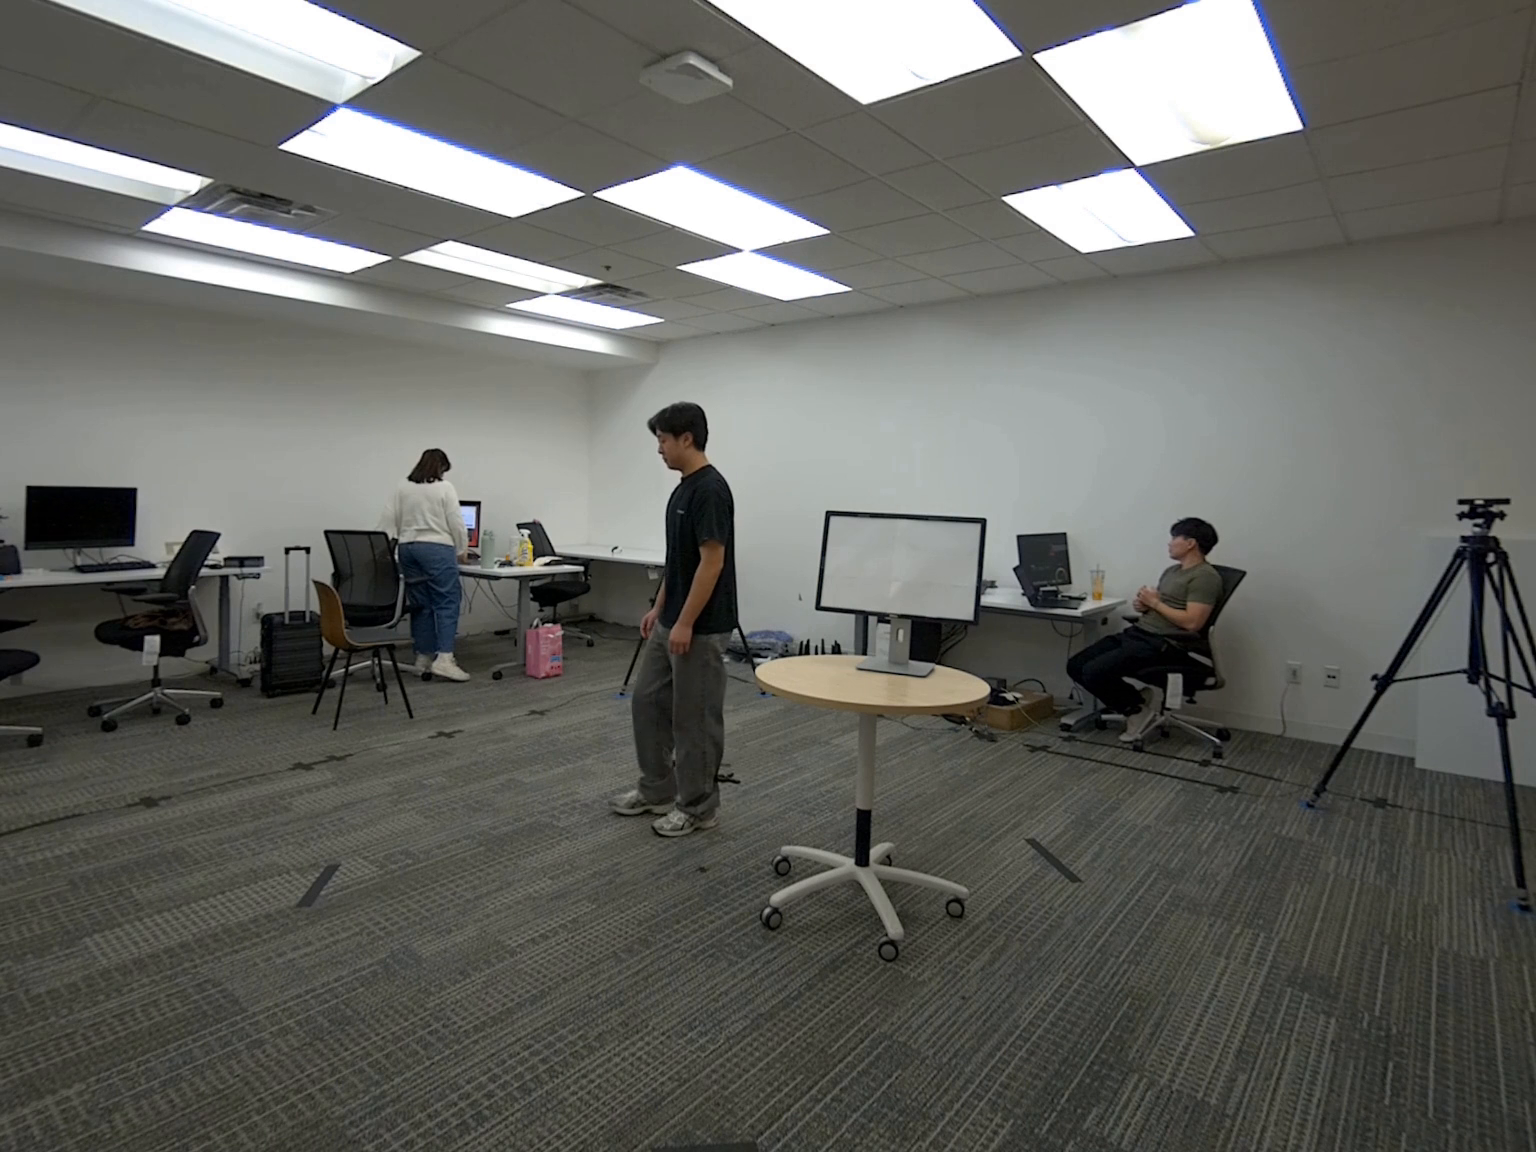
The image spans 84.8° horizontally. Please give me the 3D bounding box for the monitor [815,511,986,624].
[{"bbox_3d":[0.451,0.063,2.969,0.576,0.563,0.217,4,6,25],"label":"monitor"}]
